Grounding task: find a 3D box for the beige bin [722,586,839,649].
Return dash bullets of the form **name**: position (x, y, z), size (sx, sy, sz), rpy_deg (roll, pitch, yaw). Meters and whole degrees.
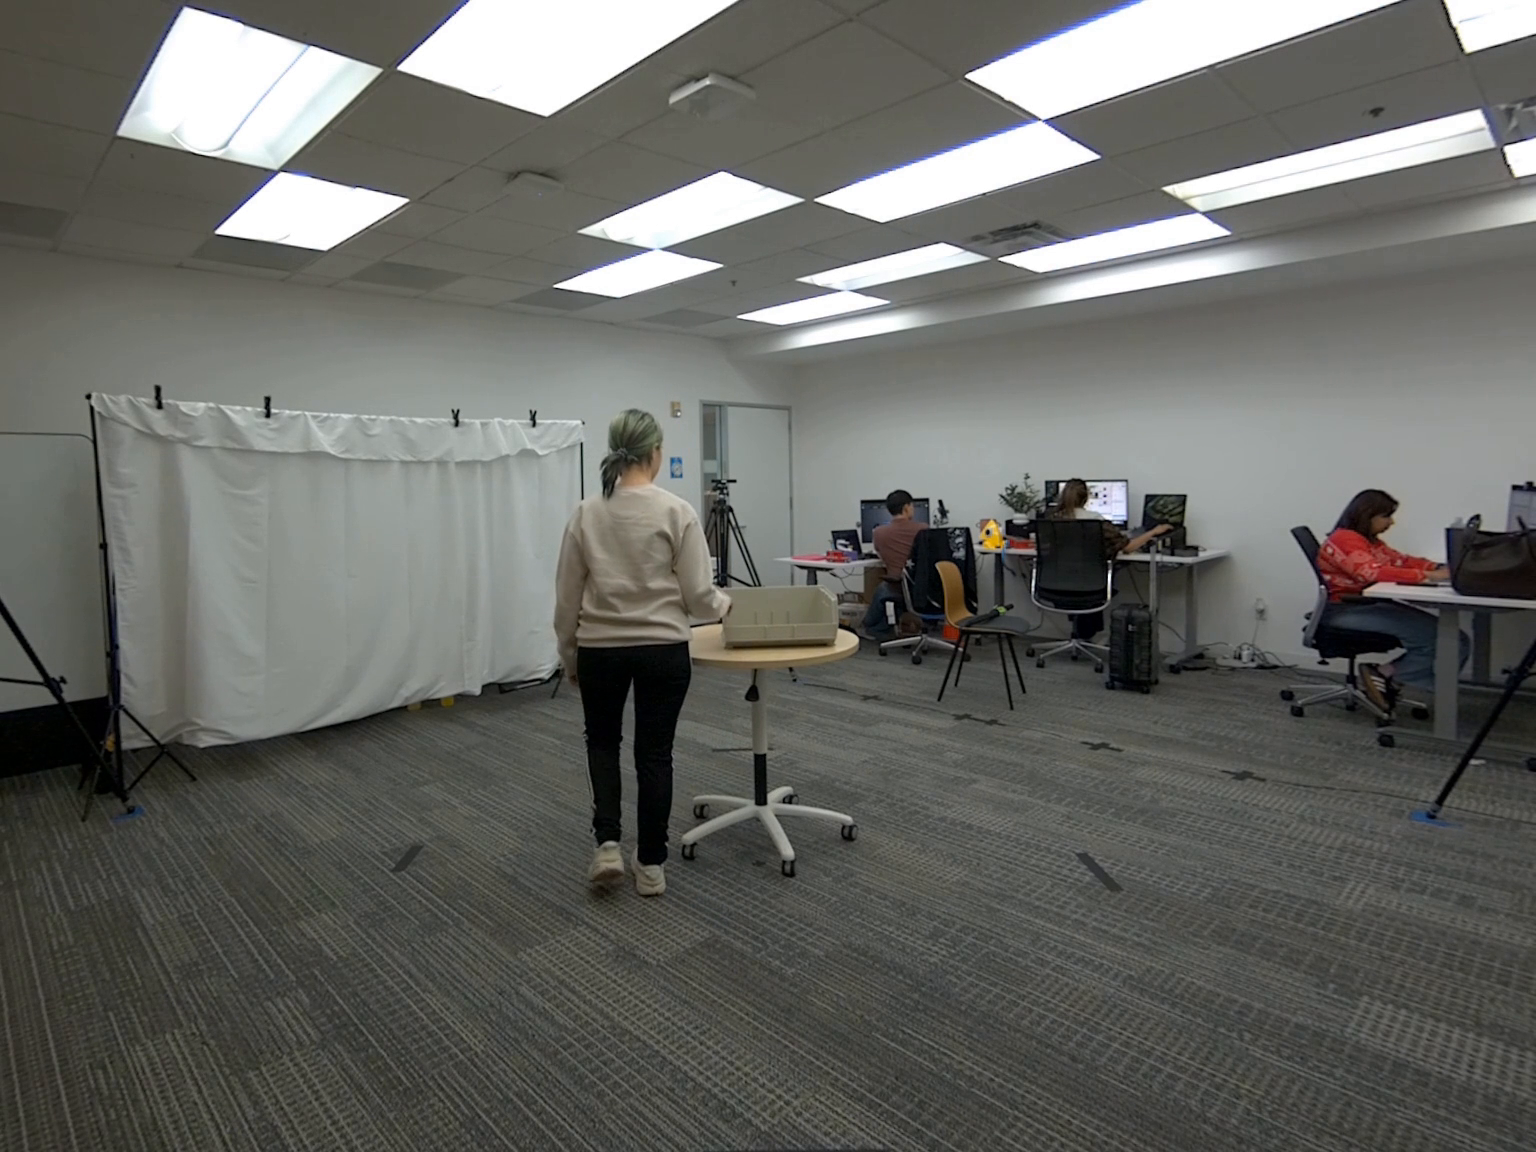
- **beige bin**: position (0.032, 0.155, 3.239), size (0.422, 0.188, 0.379), rpy_deg (-2, 5, -2)
